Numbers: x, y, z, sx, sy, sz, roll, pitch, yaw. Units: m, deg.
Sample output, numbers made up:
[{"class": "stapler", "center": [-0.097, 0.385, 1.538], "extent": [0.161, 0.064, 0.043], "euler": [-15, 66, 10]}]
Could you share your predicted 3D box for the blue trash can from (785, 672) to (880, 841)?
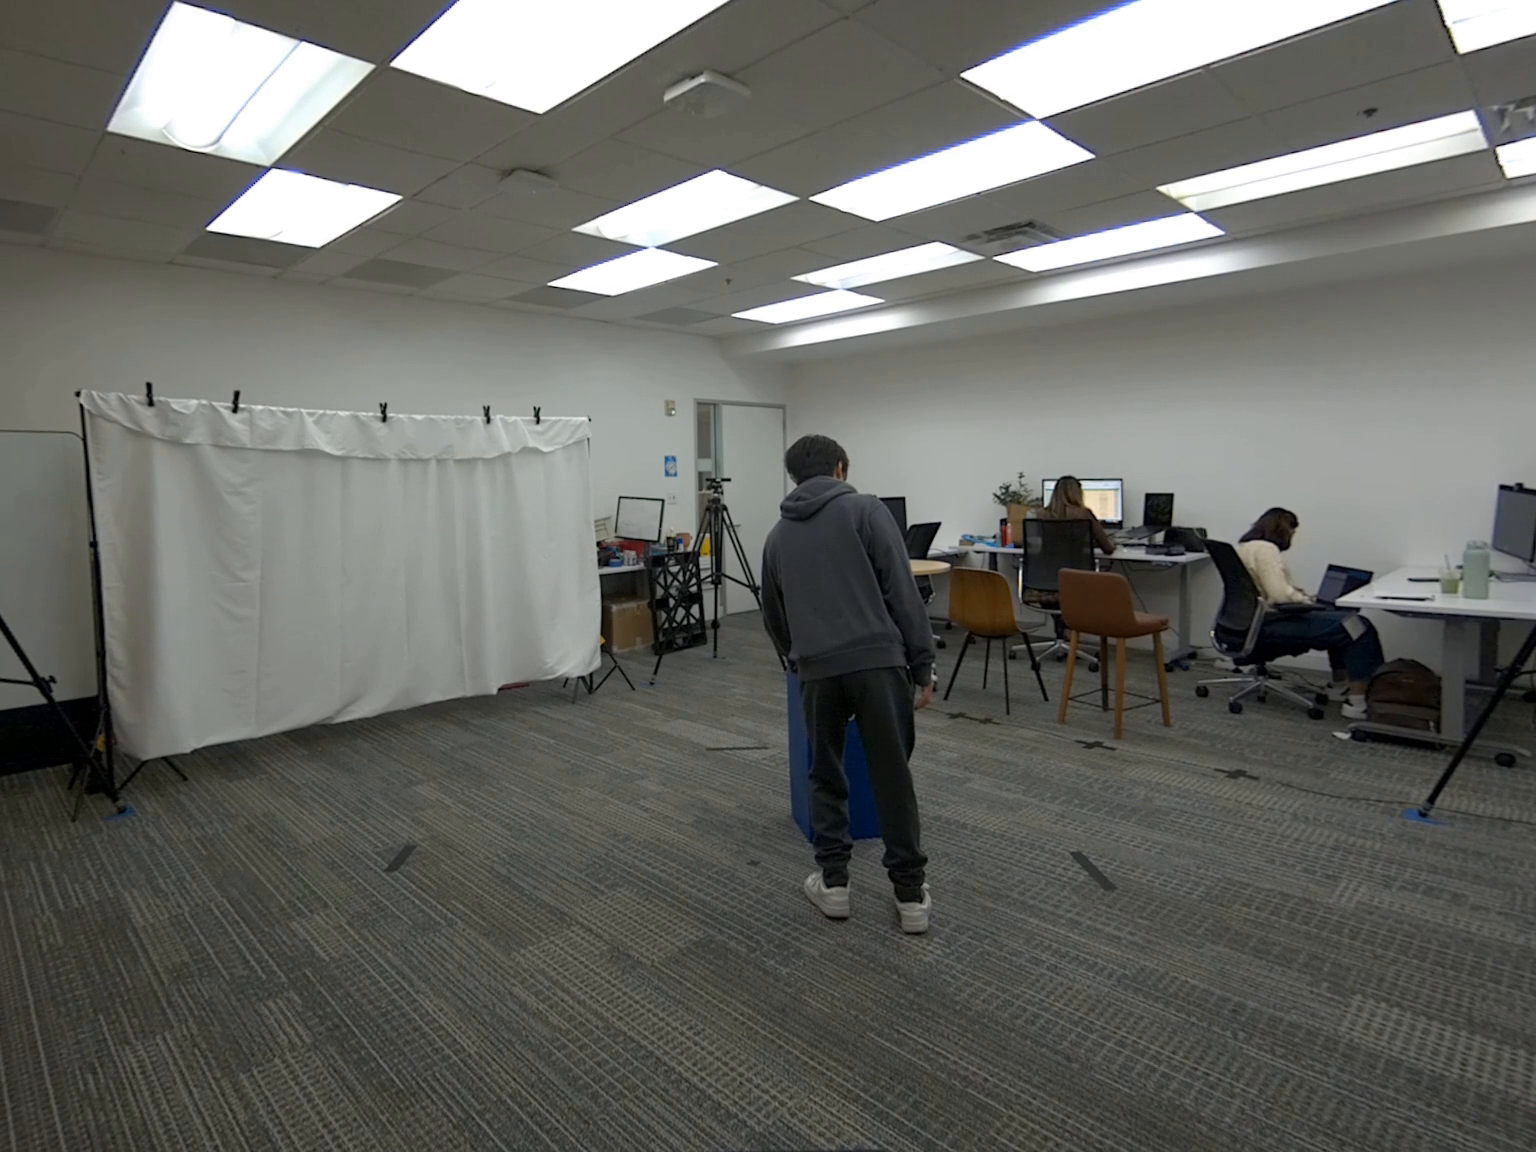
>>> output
[{"class": "blue trash can", "center": [0.281, 0.650, 3.415], "extent": [0.370, 0.711, 0.383], "euler": [-2, 4, -11]}]
